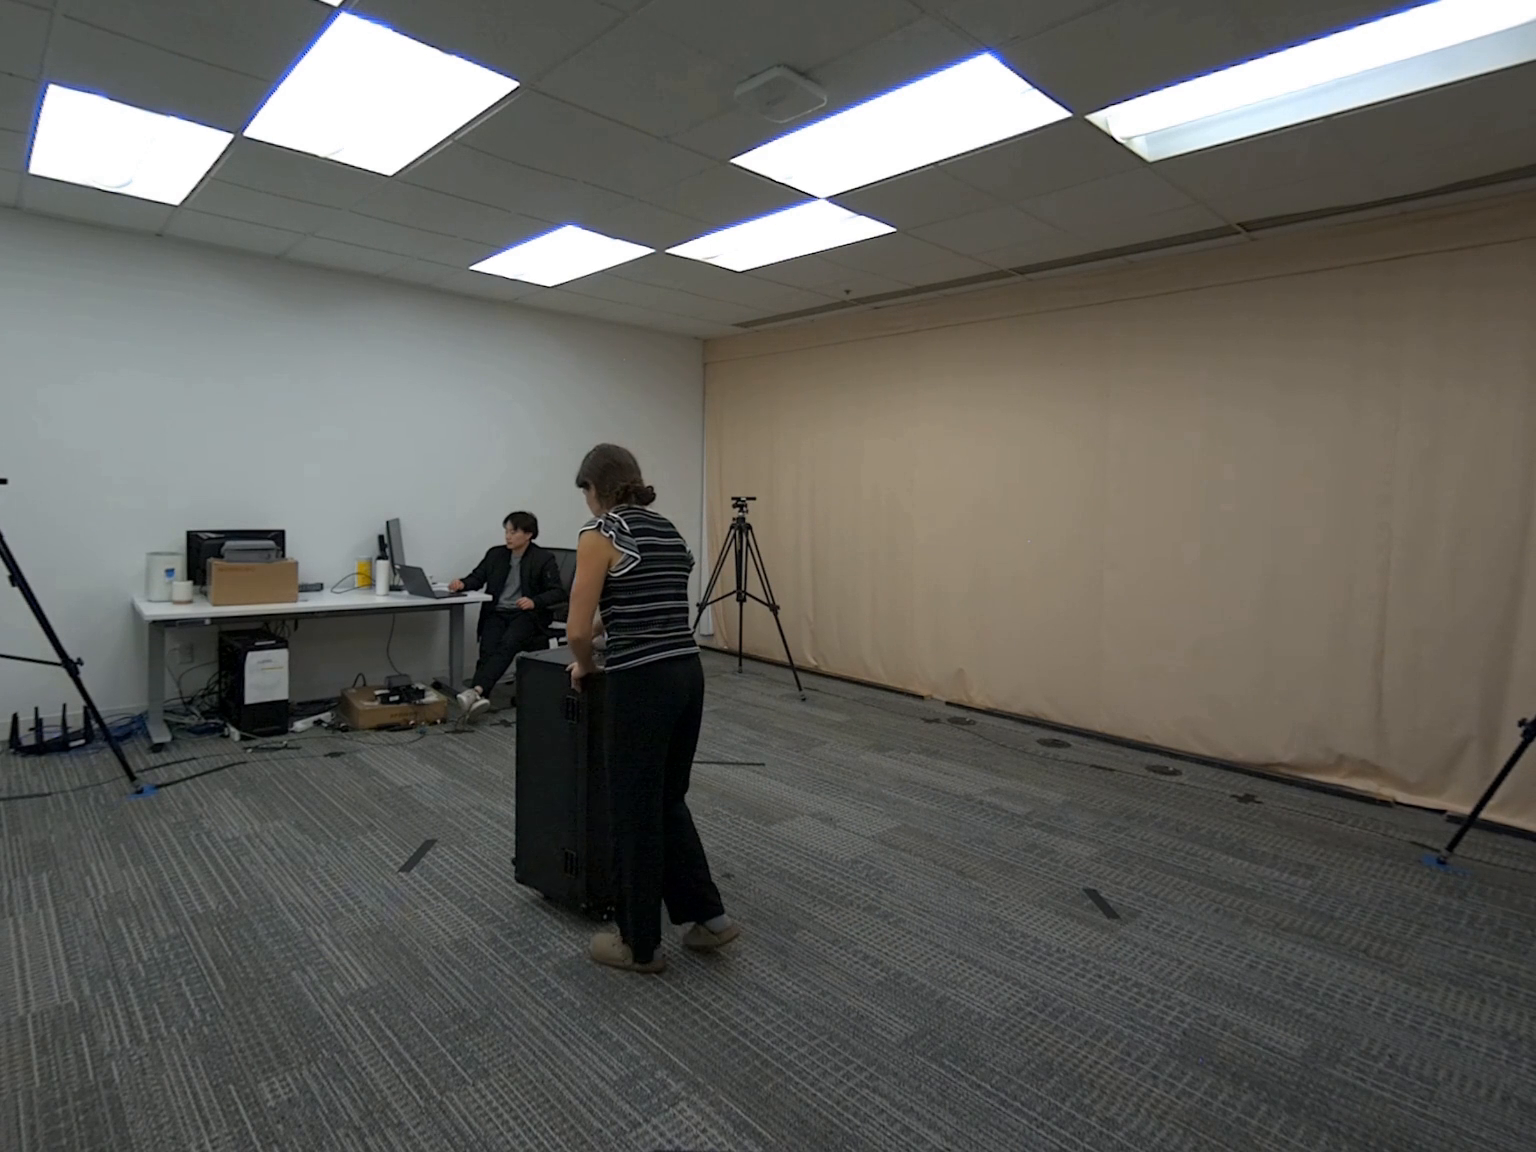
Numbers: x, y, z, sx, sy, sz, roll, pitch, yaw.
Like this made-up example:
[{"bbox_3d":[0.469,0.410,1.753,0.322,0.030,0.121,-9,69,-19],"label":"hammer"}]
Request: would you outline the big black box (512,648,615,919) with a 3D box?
[{"bbox_3d":[-0.592,0.686,2.941,0.405,0.860,0.510,1,2,36],"label":"big black box"}]
